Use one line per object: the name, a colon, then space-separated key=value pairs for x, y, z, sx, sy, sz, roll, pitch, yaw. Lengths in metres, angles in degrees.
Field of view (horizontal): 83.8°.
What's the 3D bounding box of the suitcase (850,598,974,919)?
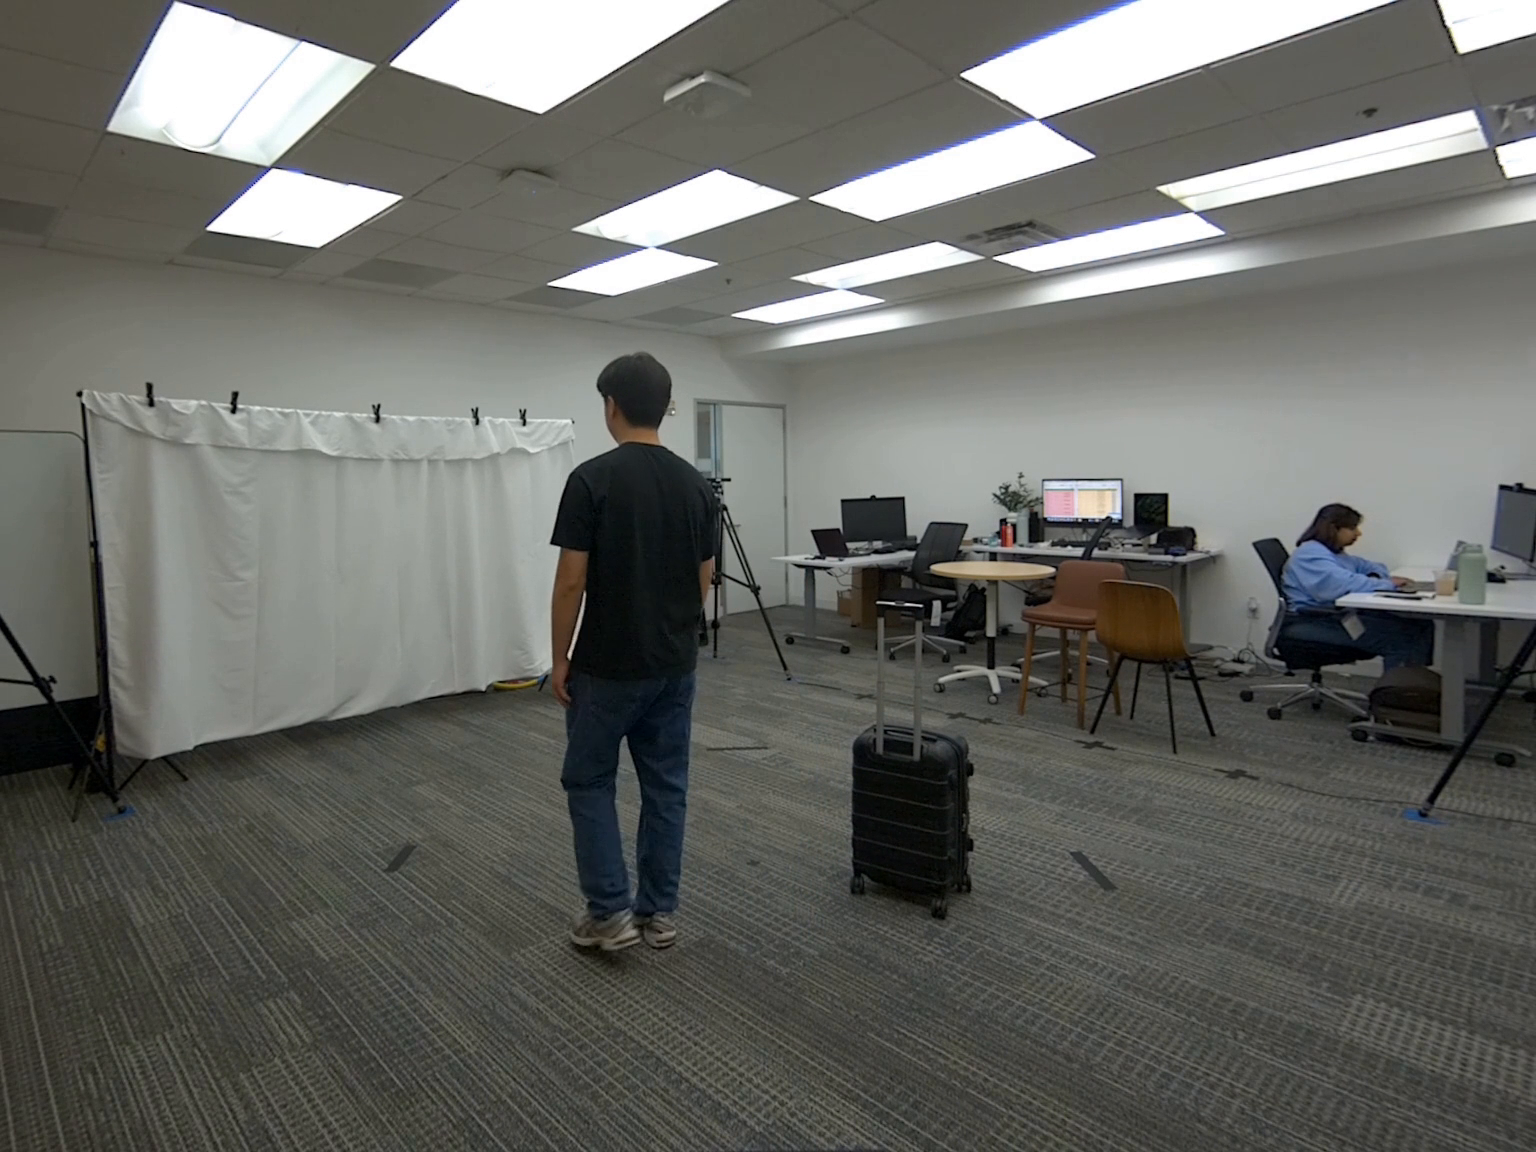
suitcase: x=0.486 y=0.584 z=2.877 sx=0.395 sy=0.978 sz=0.250 roll=1 pitch=0 yaw=34
